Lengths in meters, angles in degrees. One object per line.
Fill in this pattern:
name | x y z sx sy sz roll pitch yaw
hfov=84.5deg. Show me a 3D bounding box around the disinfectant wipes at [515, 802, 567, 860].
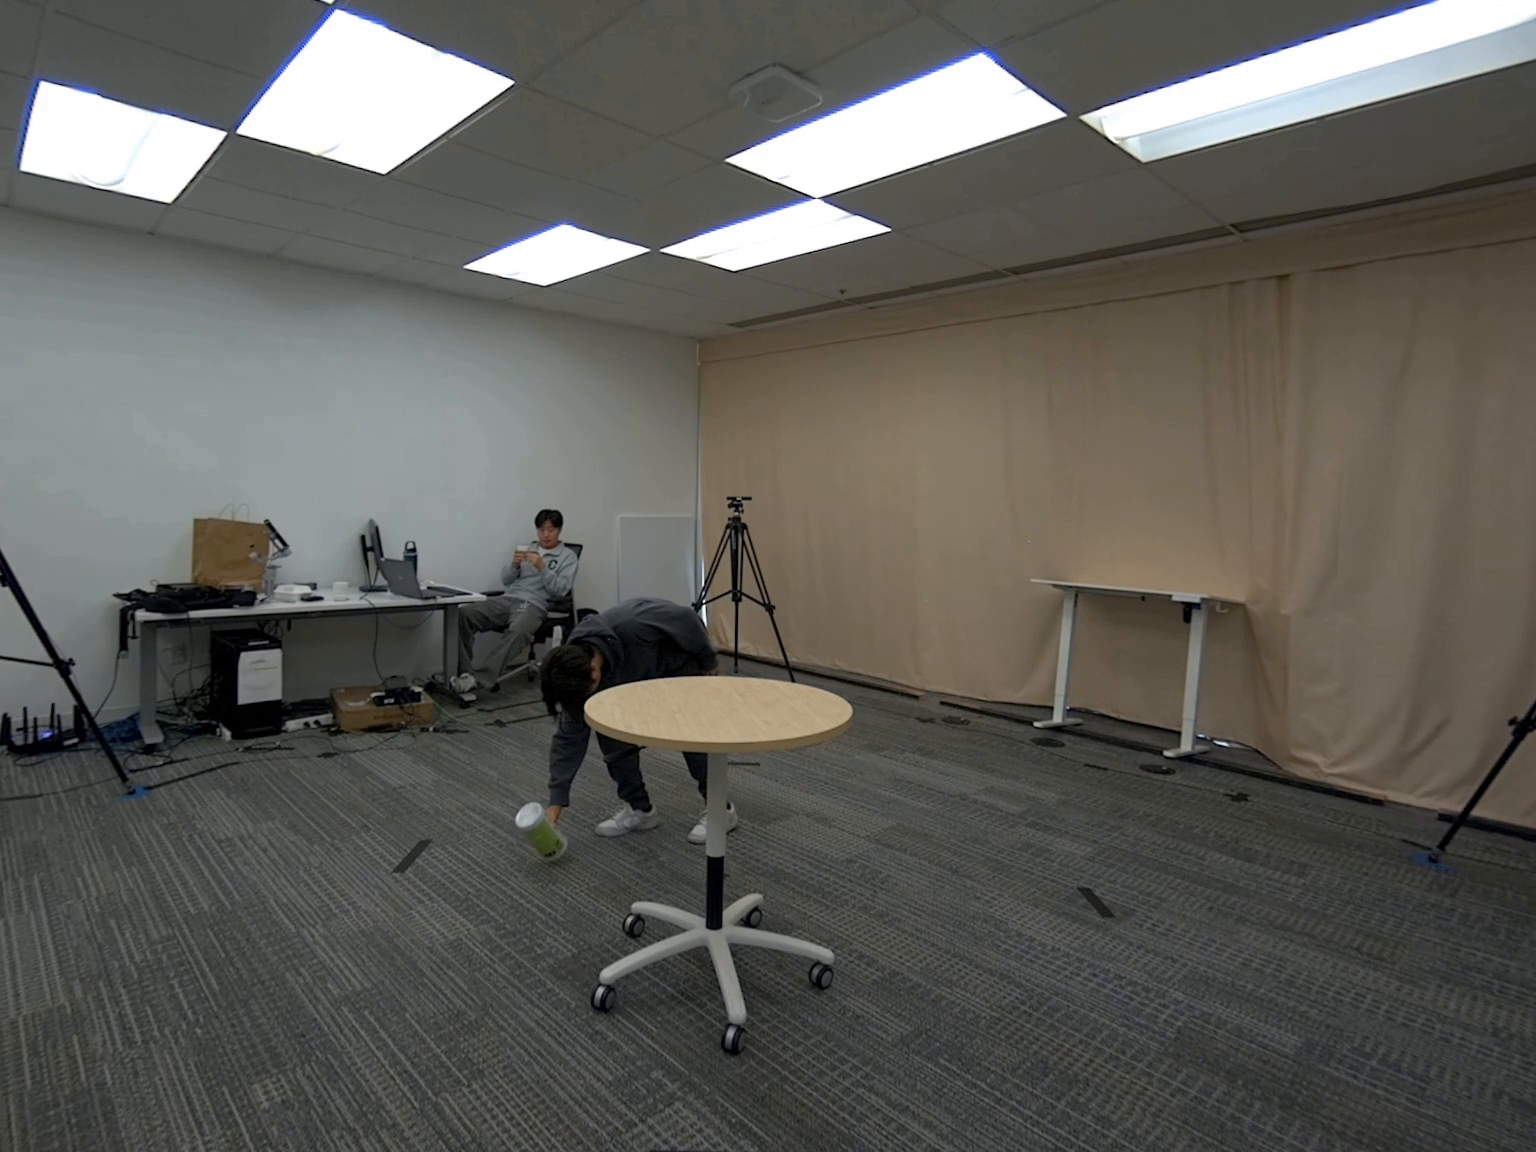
disinfectant wipes | -0.851 0.954 3.123 0.118 0.212 0.120 -17 31 9
